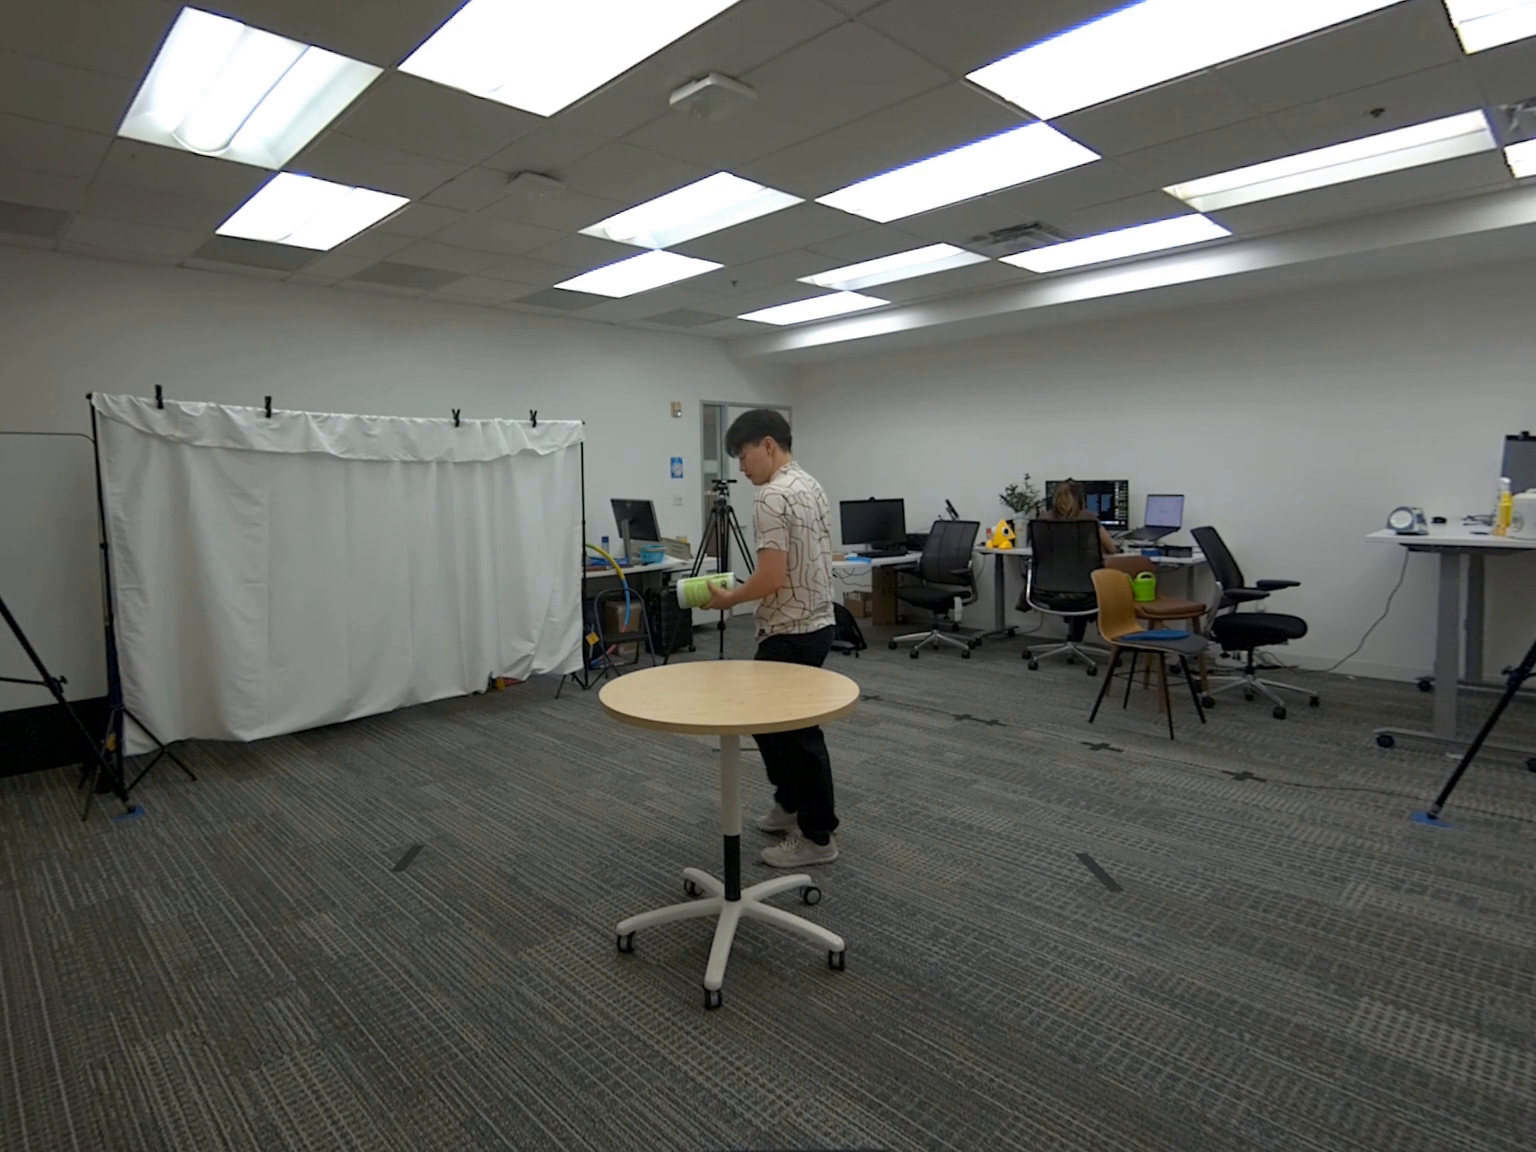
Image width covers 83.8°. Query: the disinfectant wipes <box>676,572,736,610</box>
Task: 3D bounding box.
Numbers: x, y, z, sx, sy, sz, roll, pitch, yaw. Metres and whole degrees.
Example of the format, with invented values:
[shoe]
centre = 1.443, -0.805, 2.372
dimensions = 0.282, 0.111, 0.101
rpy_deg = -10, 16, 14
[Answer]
[disinfectant wipes]
centre = -0.219, 0.051, 3.165
dimensions = 0.218, 0.117, 0.118
rpy_deg = -7, 4, 4
